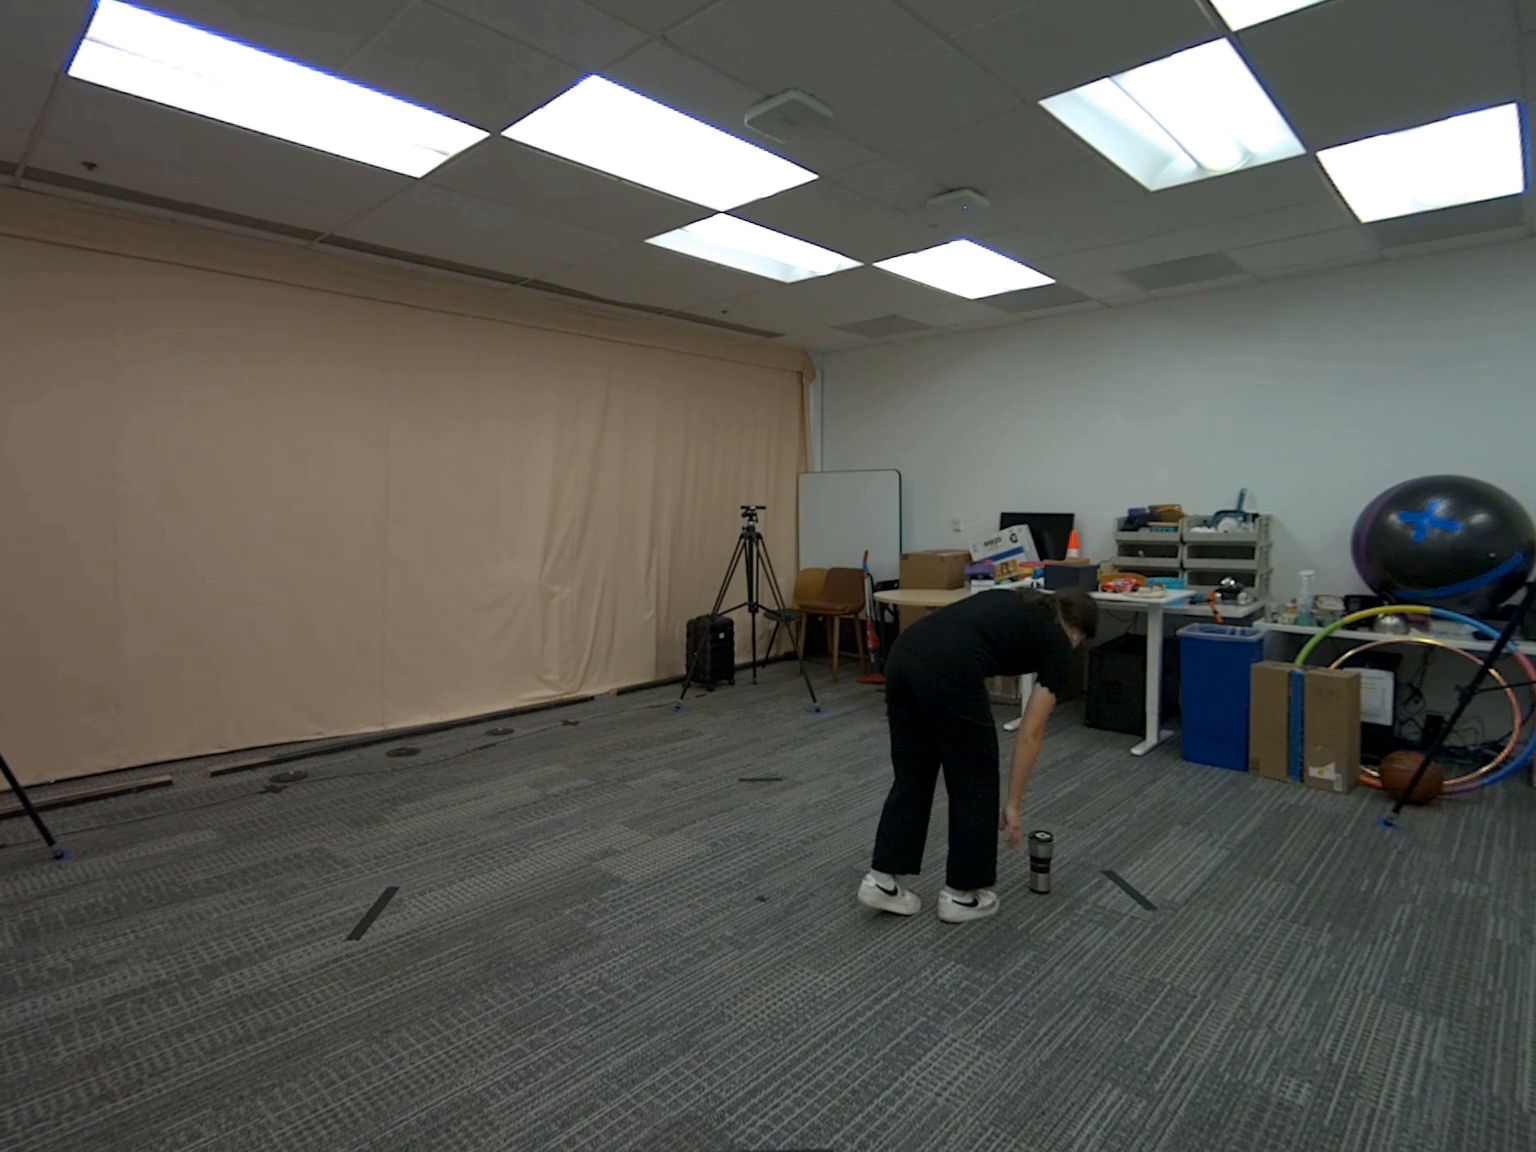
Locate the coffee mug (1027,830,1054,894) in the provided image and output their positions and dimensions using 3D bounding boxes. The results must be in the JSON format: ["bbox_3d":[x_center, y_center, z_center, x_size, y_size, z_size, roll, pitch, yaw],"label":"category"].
[{"bbox_3d":[1.005,1.034,3.055,0.091,0.203,0.118,-2,3,44],"label":"coffee mug"}]
